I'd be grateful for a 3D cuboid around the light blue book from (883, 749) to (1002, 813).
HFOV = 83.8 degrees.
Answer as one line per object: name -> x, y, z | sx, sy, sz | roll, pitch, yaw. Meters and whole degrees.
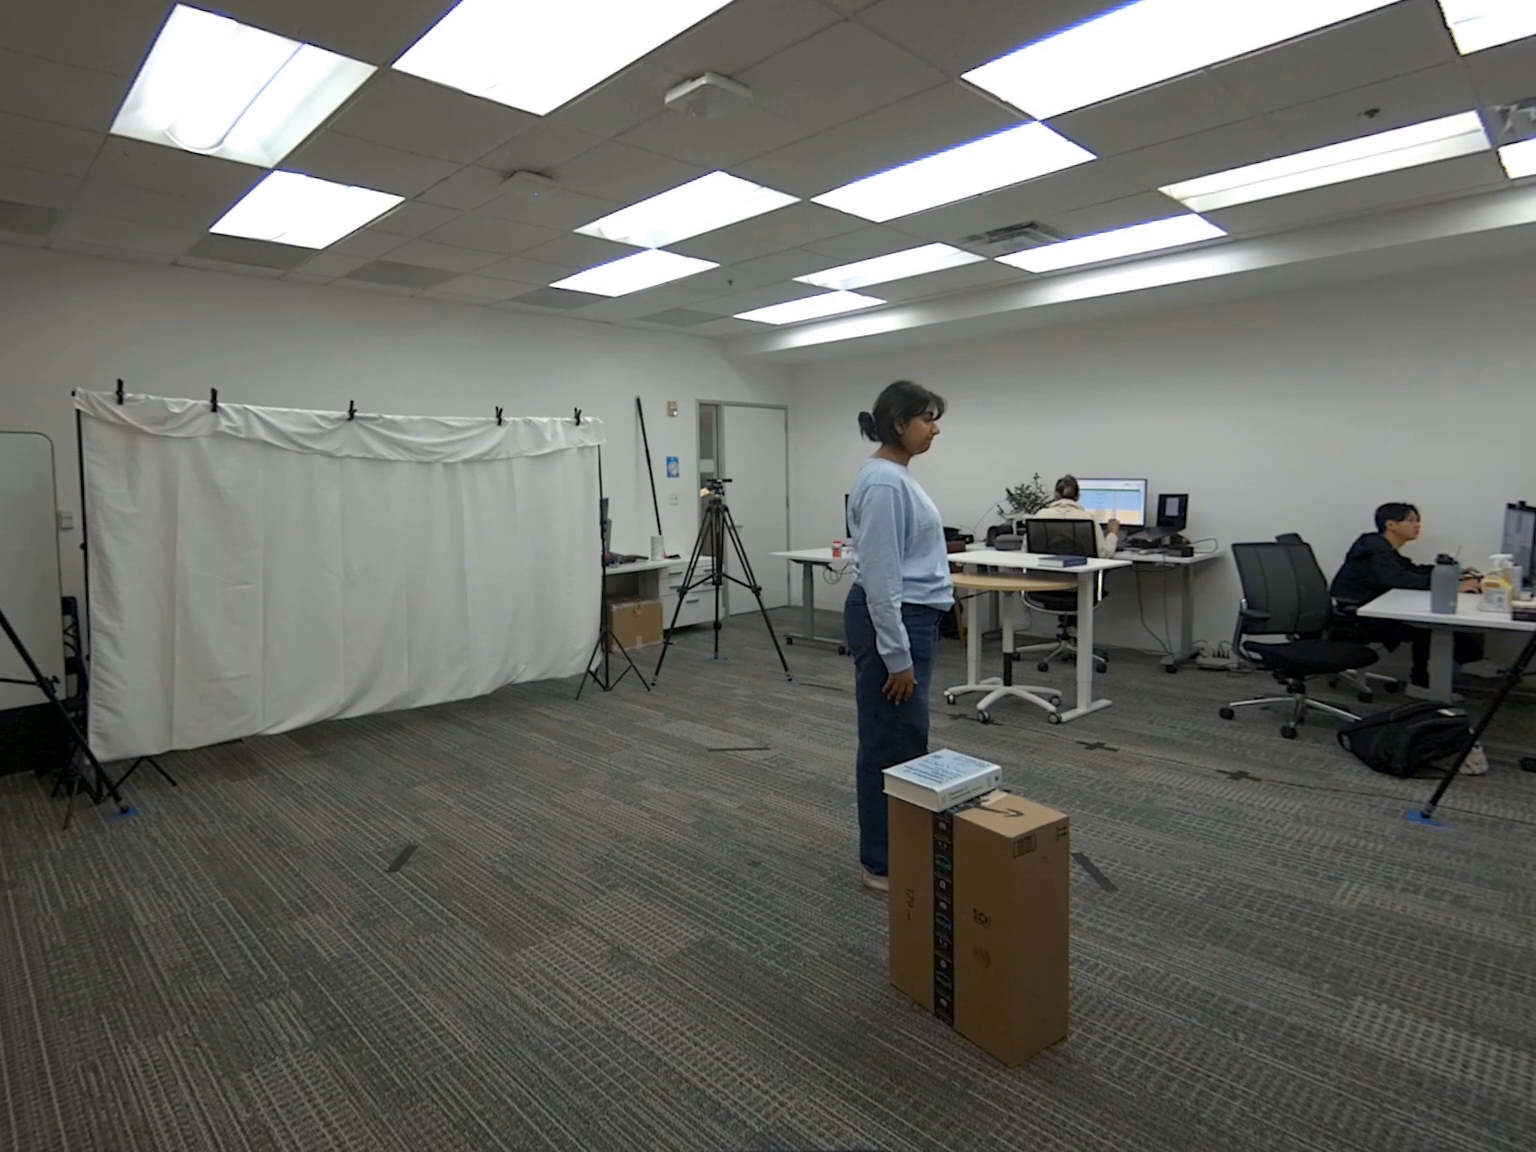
light blue book -> 0.455, 0.538, 2.271 | 0.254, 0.059, 0.197 | -7, 8, -38
